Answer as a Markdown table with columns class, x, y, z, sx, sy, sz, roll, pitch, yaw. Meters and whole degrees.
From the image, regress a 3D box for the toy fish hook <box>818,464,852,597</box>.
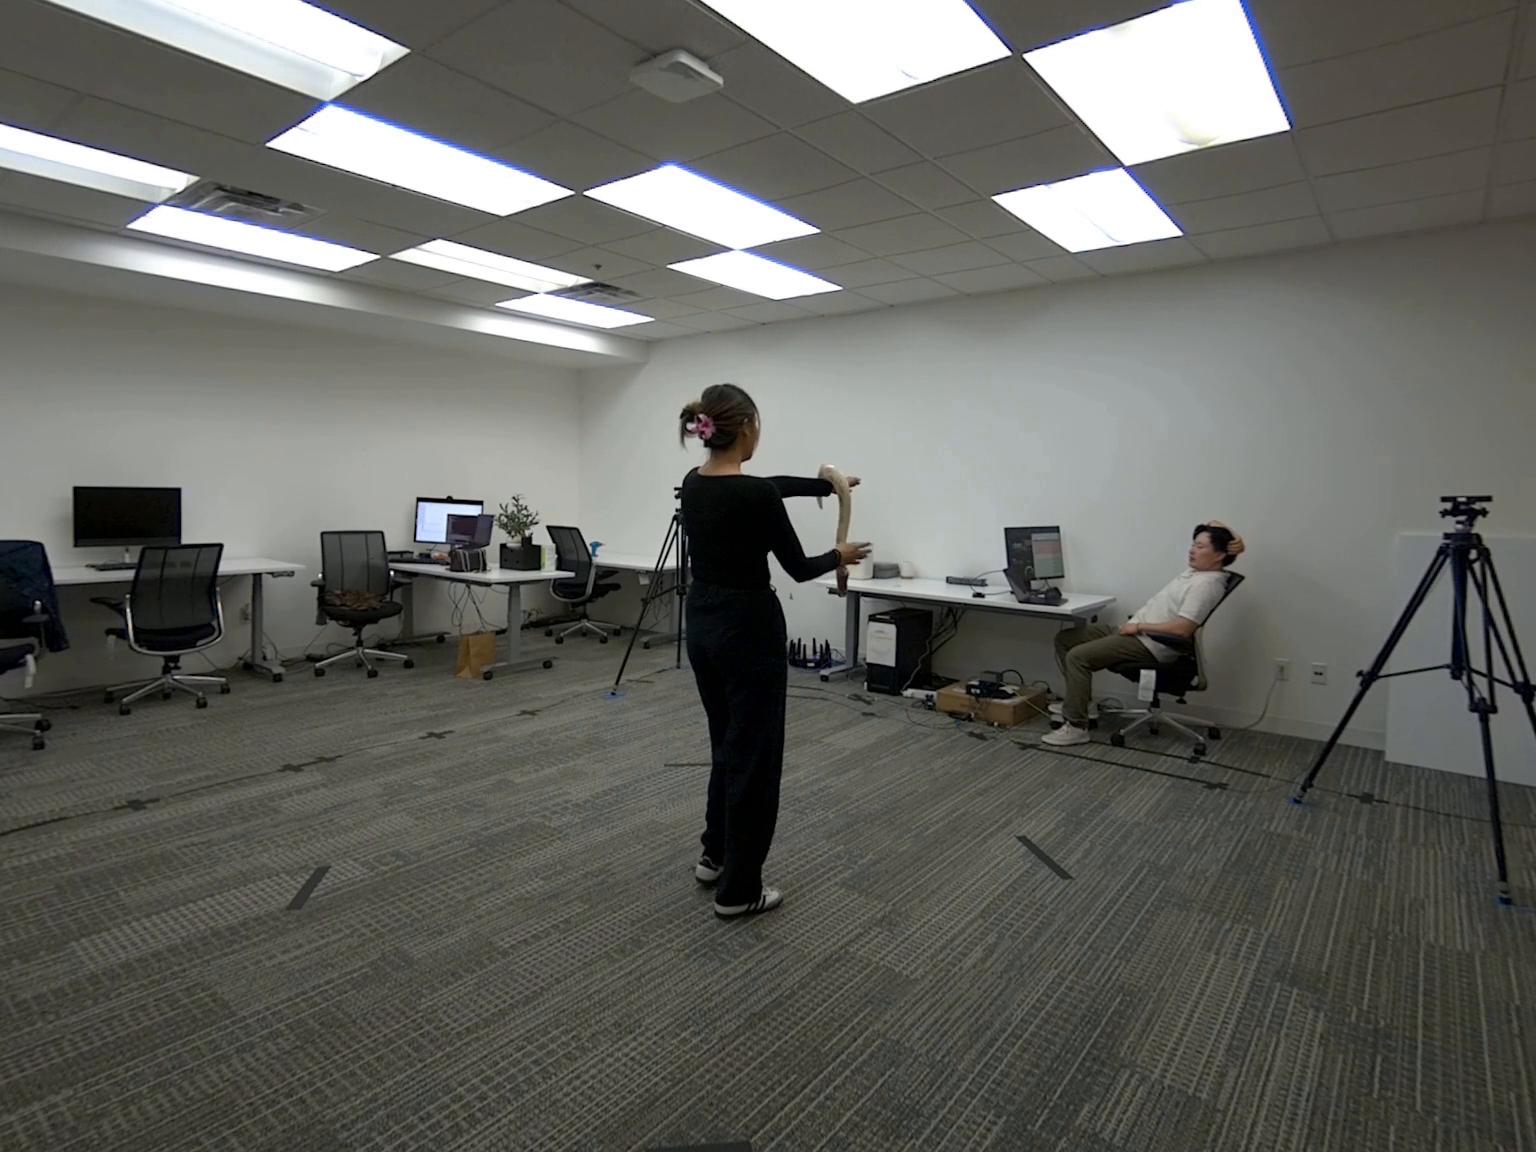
| class | x | y | z | sx | sy | sz | roll | pitch | yaw |
| --- | --- | --- | --- | --- | --- | --- | --- | --- | --- |
| toy fish hook | 0.226 | -0.170 | 3.147 | 0.047 | 0.497 | 0.232 | -10 | 22 | -19 |
